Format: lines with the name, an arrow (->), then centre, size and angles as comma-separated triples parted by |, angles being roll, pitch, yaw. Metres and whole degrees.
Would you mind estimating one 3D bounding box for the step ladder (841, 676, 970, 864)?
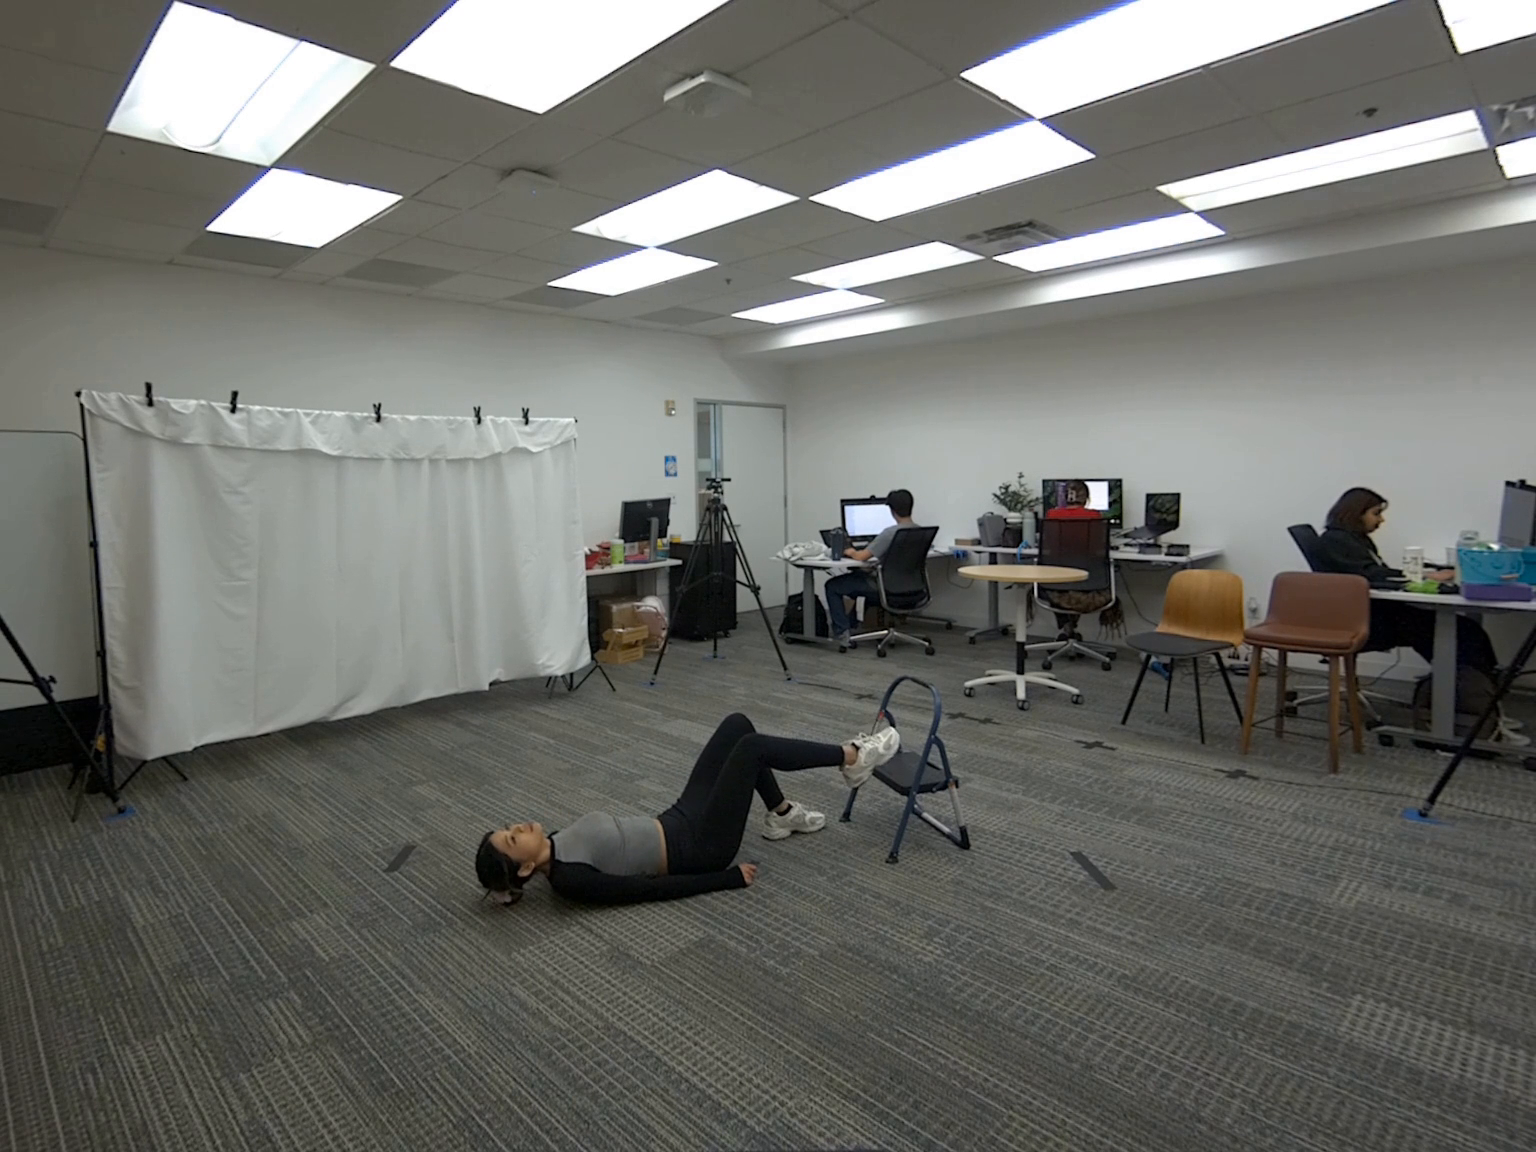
step ladder -> 0.523, 0.707, 3.315 | 0.343, 0.604, 0.439 | -3, 4, -19
